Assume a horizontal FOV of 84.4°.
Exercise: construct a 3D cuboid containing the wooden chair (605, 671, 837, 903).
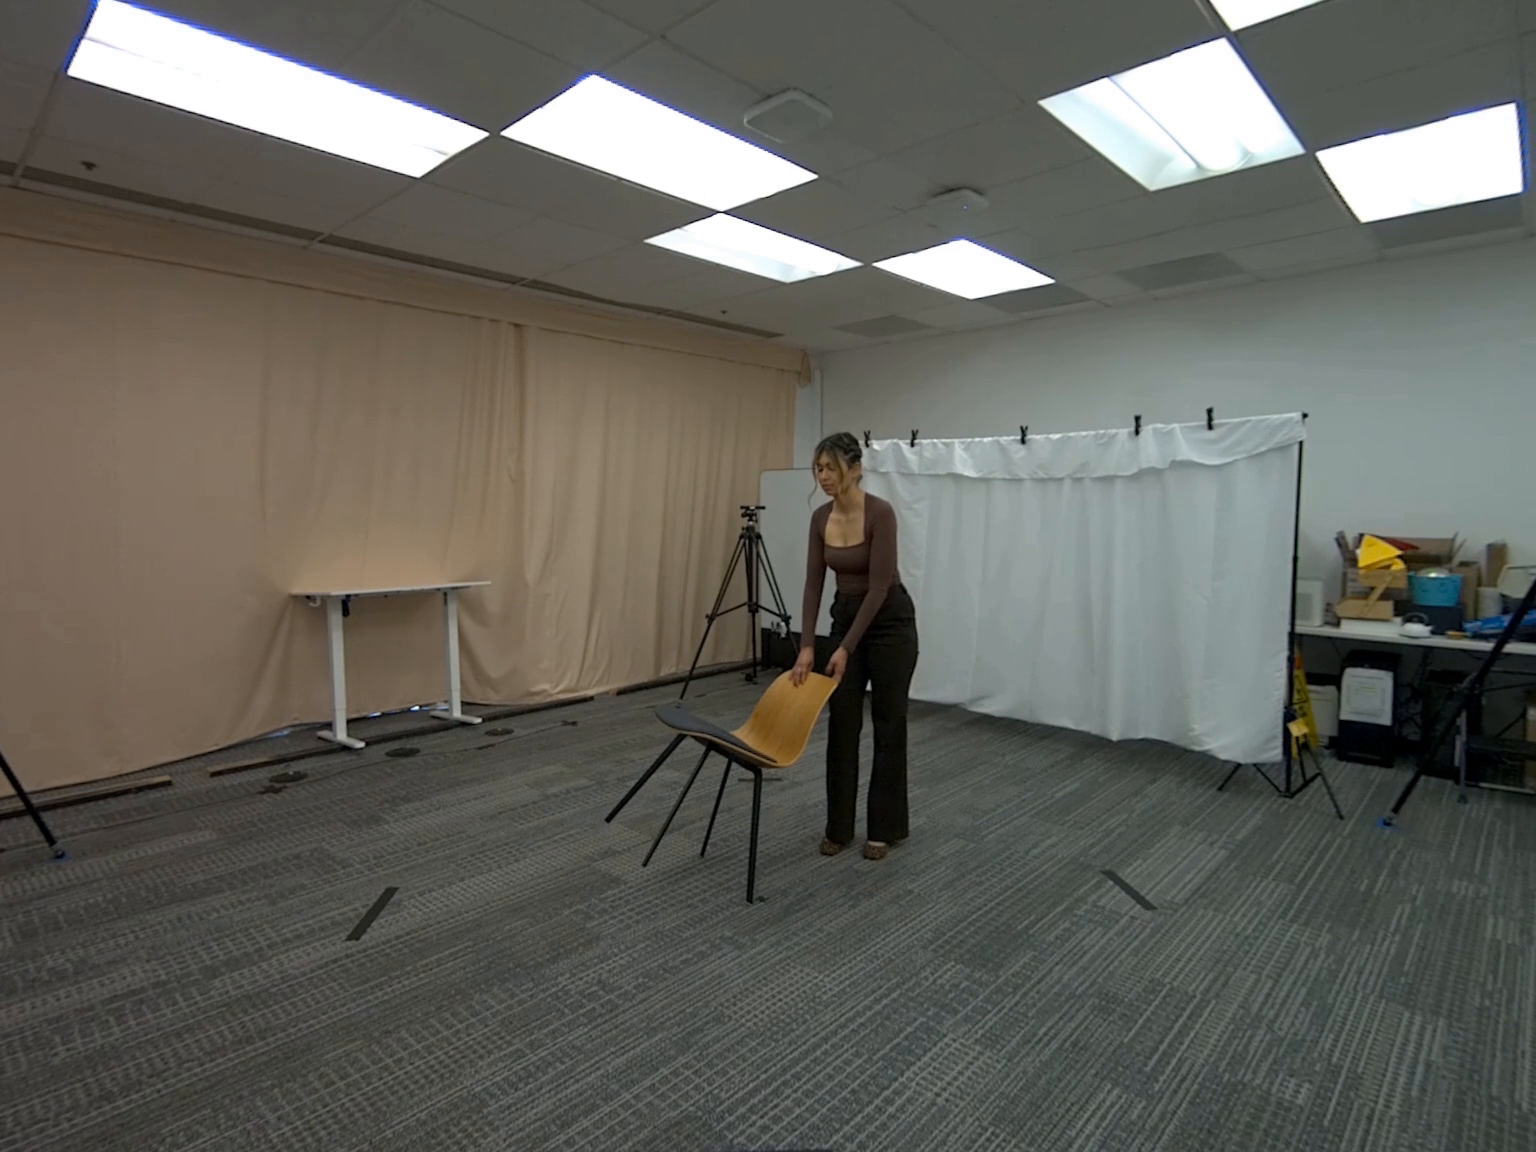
[{"bbox_3d":[-0.166,0.648,3.111,0.510,0.877,0.490,32,-10,-23],"label":"wooden chair"}]
